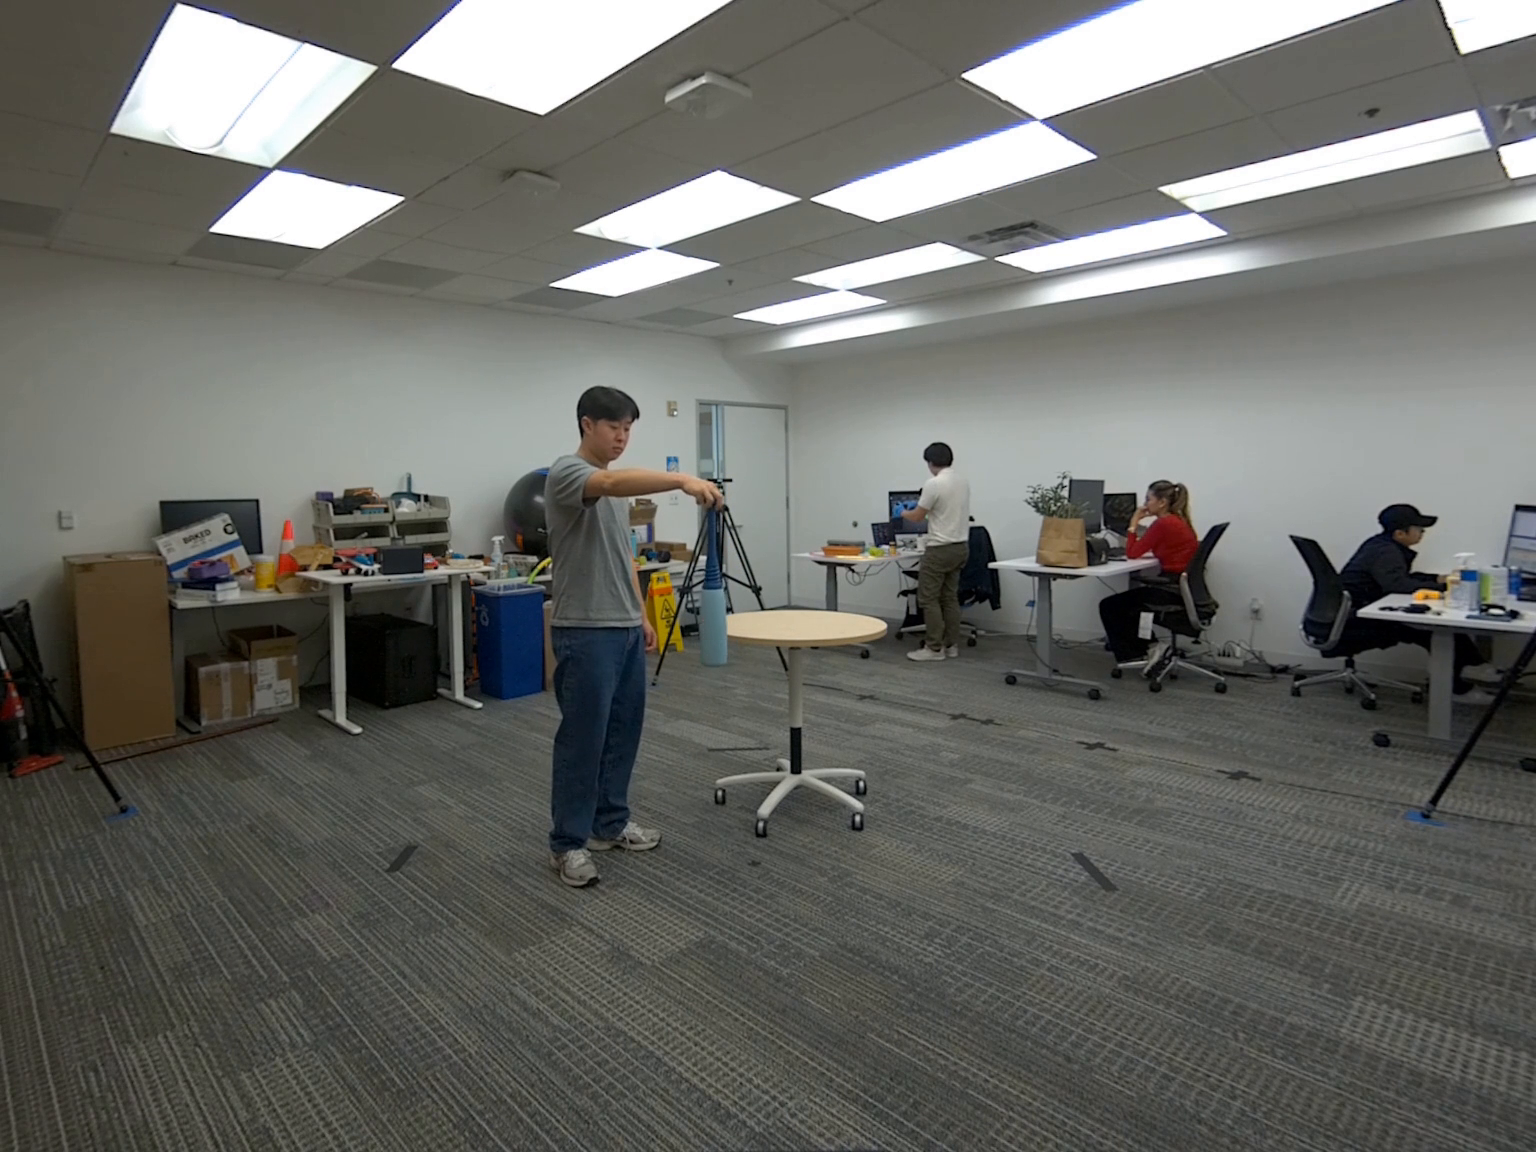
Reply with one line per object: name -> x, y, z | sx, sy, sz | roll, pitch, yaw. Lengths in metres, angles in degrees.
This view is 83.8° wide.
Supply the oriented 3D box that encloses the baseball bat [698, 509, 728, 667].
baseball bat -> -0.174, 0.019, 2.727 | 0.089, 0.541, 0.089 | -2, 4, -2
